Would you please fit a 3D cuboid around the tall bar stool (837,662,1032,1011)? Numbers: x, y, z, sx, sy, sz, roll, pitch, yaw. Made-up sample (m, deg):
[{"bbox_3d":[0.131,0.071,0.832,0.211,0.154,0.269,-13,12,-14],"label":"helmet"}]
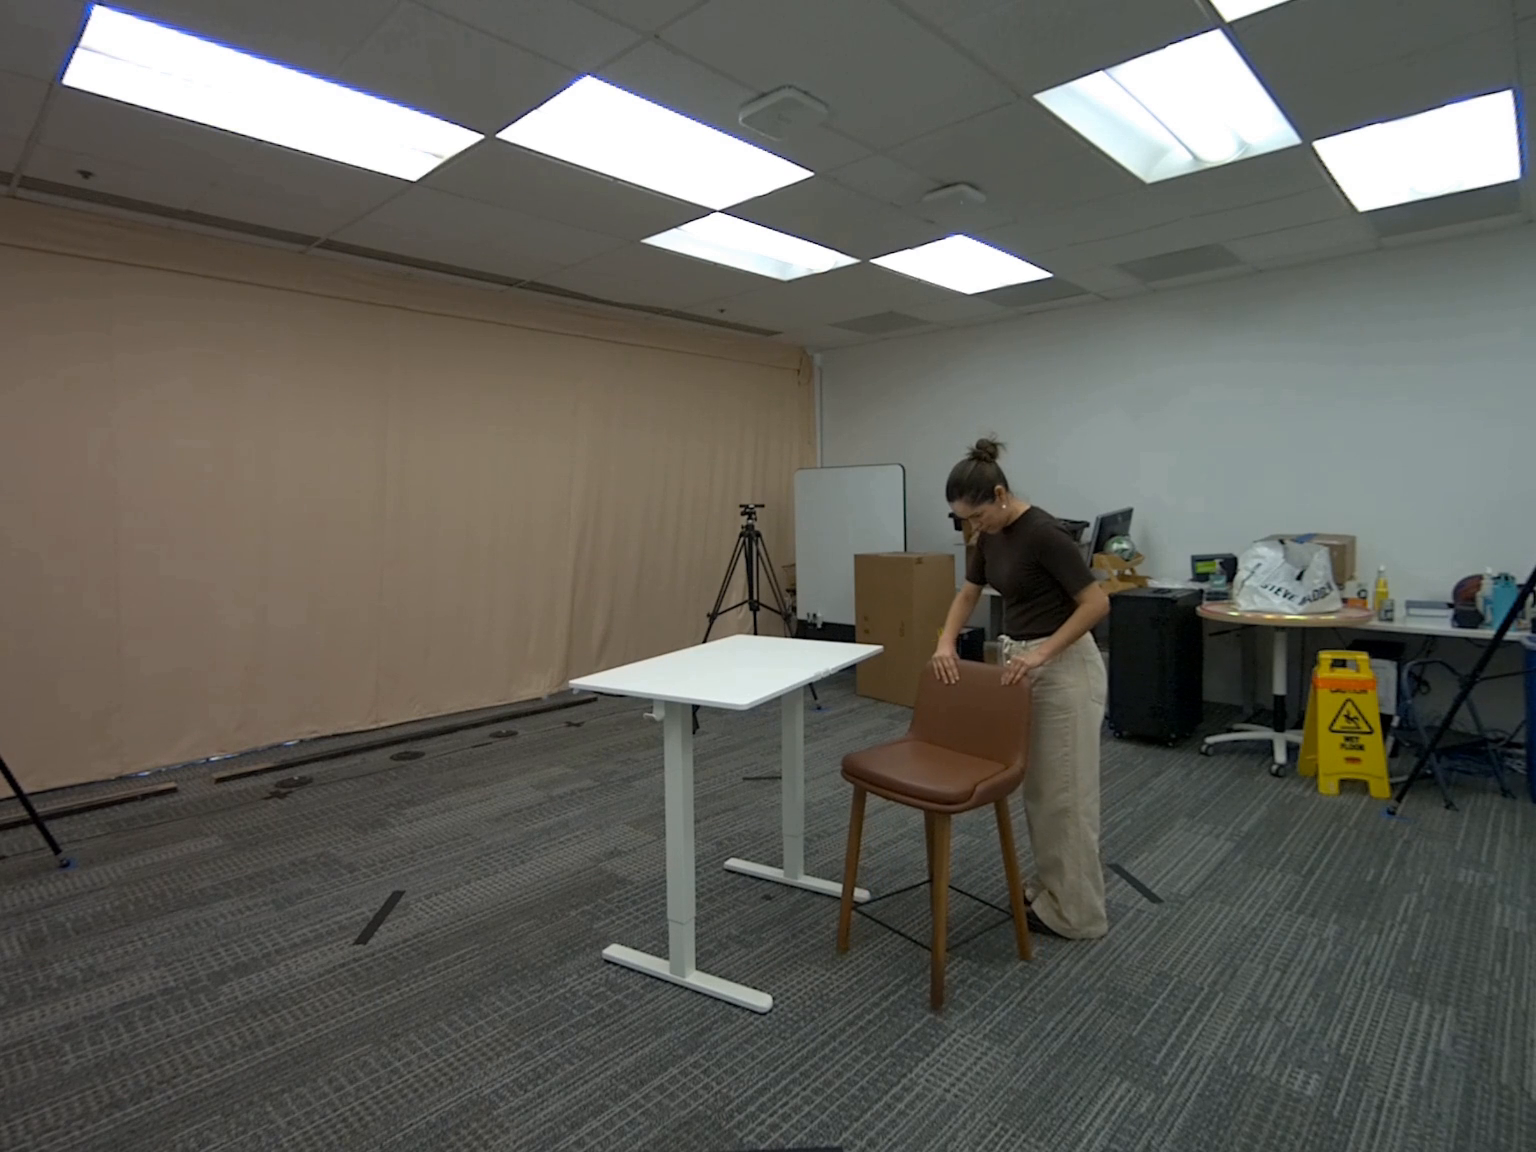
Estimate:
[{"bbox_3d":[0.515,0.727,2.560,0.453,0.888,0.471,-1,3,-37],"label":"tall bar stool"}]
